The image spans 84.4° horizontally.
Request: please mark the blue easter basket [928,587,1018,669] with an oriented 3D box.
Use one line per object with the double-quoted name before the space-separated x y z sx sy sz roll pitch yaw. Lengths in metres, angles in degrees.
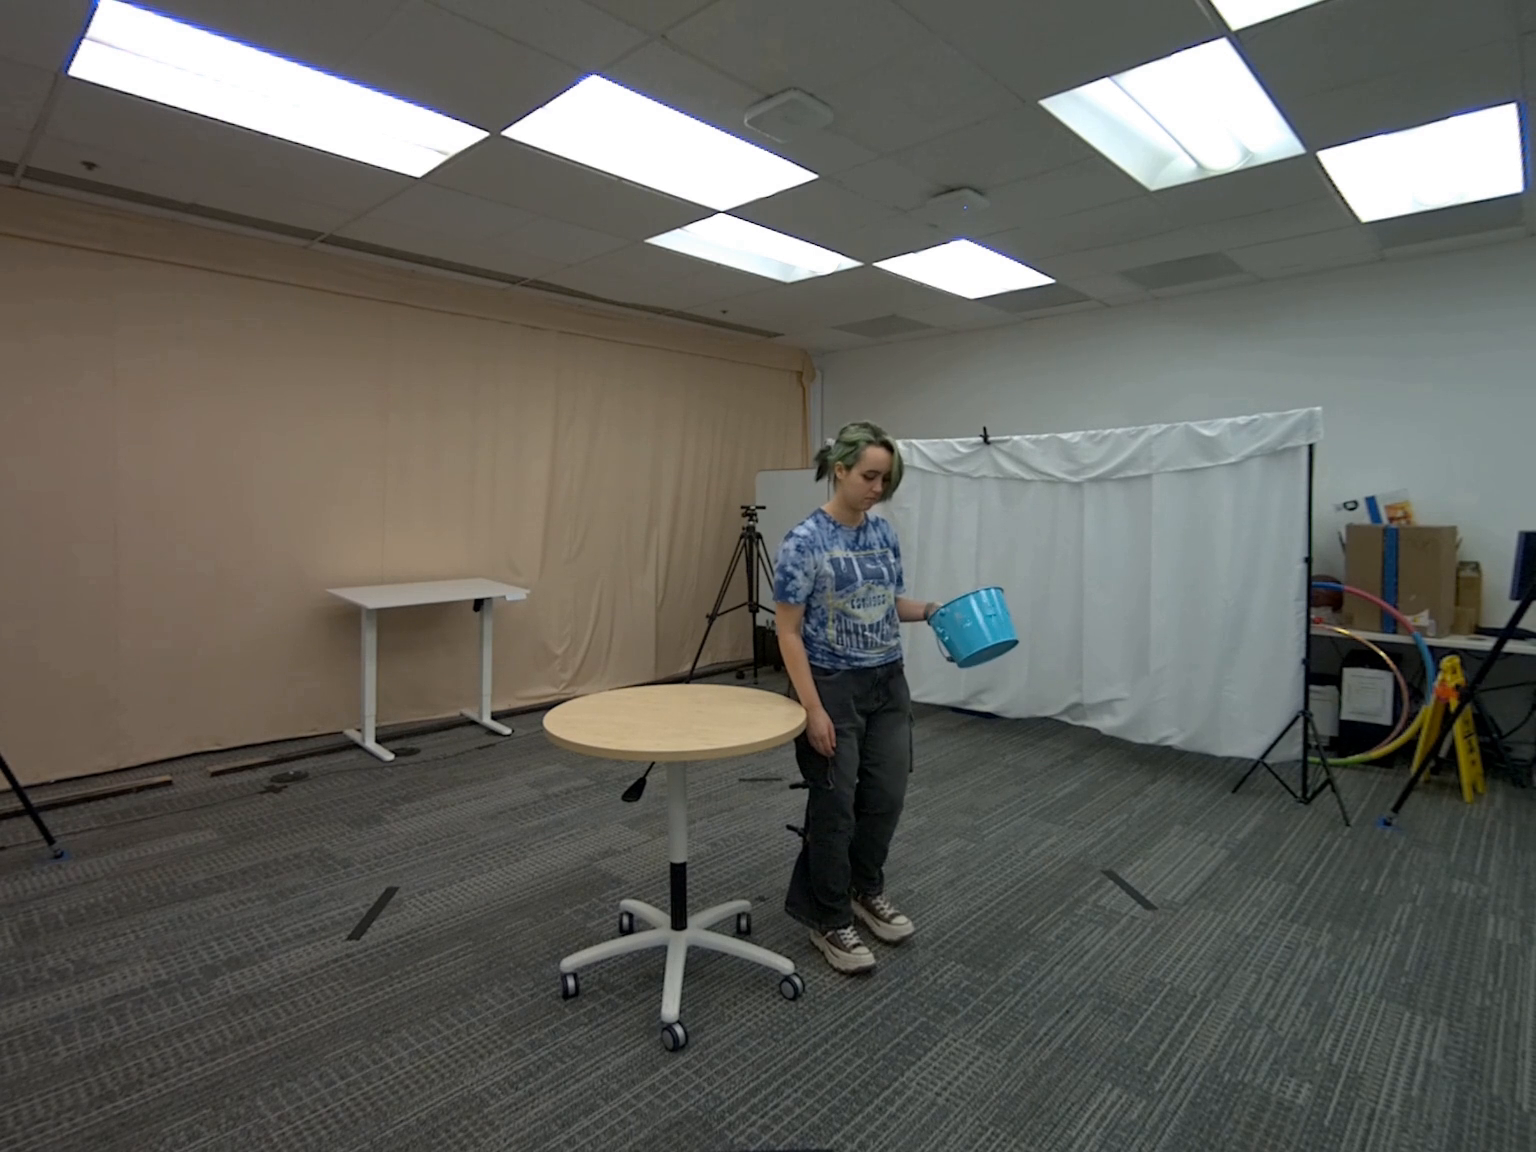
"blue easter basket" 0.605 0.160 2.389 0.242 0.159 0.240 -14 -24 -8
